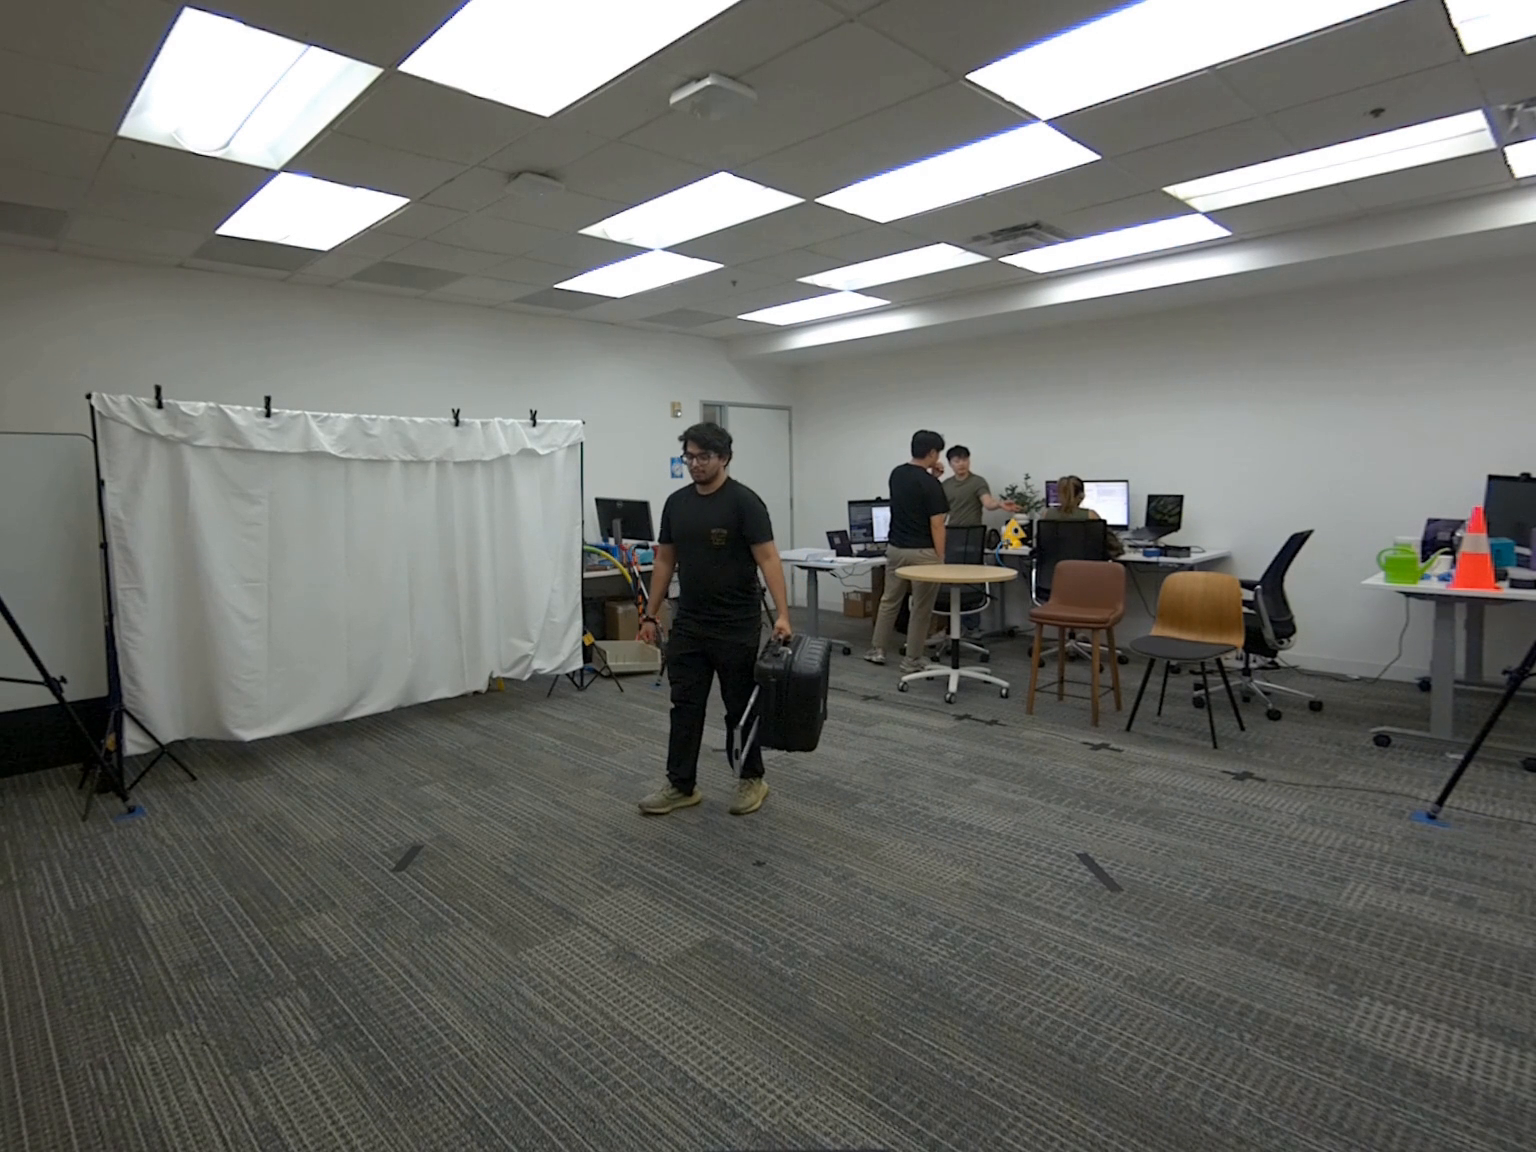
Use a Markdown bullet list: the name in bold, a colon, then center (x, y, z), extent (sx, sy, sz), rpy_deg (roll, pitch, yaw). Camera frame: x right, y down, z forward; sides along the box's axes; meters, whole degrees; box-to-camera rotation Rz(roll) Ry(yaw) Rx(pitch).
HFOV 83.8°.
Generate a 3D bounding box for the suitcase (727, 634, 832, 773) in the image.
- **suitcase**: center (0.072, 0.474, 3.147), extent (0.259, 0.381, 0.978), rpy_deg (3, 9, 6)
